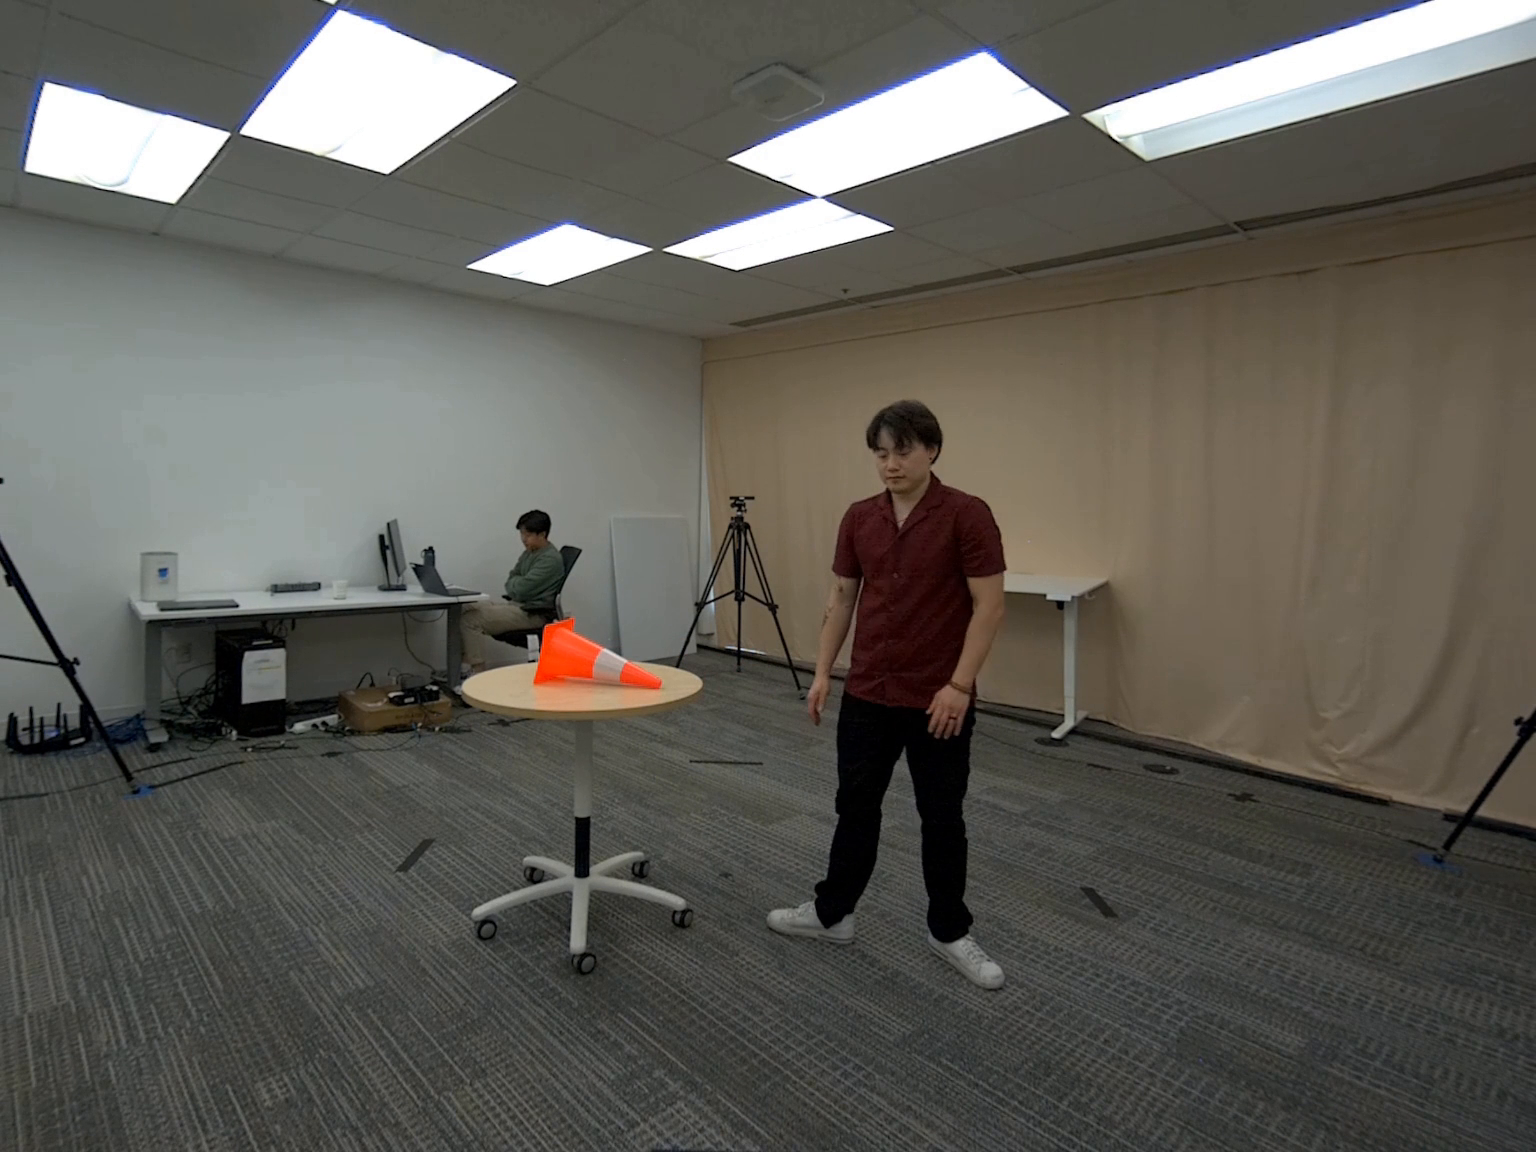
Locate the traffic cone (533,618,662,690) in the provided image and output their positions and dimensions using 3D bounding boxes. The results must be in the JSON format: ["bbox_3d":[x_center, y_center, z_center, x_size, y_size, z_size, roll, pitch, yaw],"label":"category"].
[{"bbox_3d":[-0.525,0.293,2.690,0.389,0.203,0.202,15,14,13],"label":"traffic cone"}]
